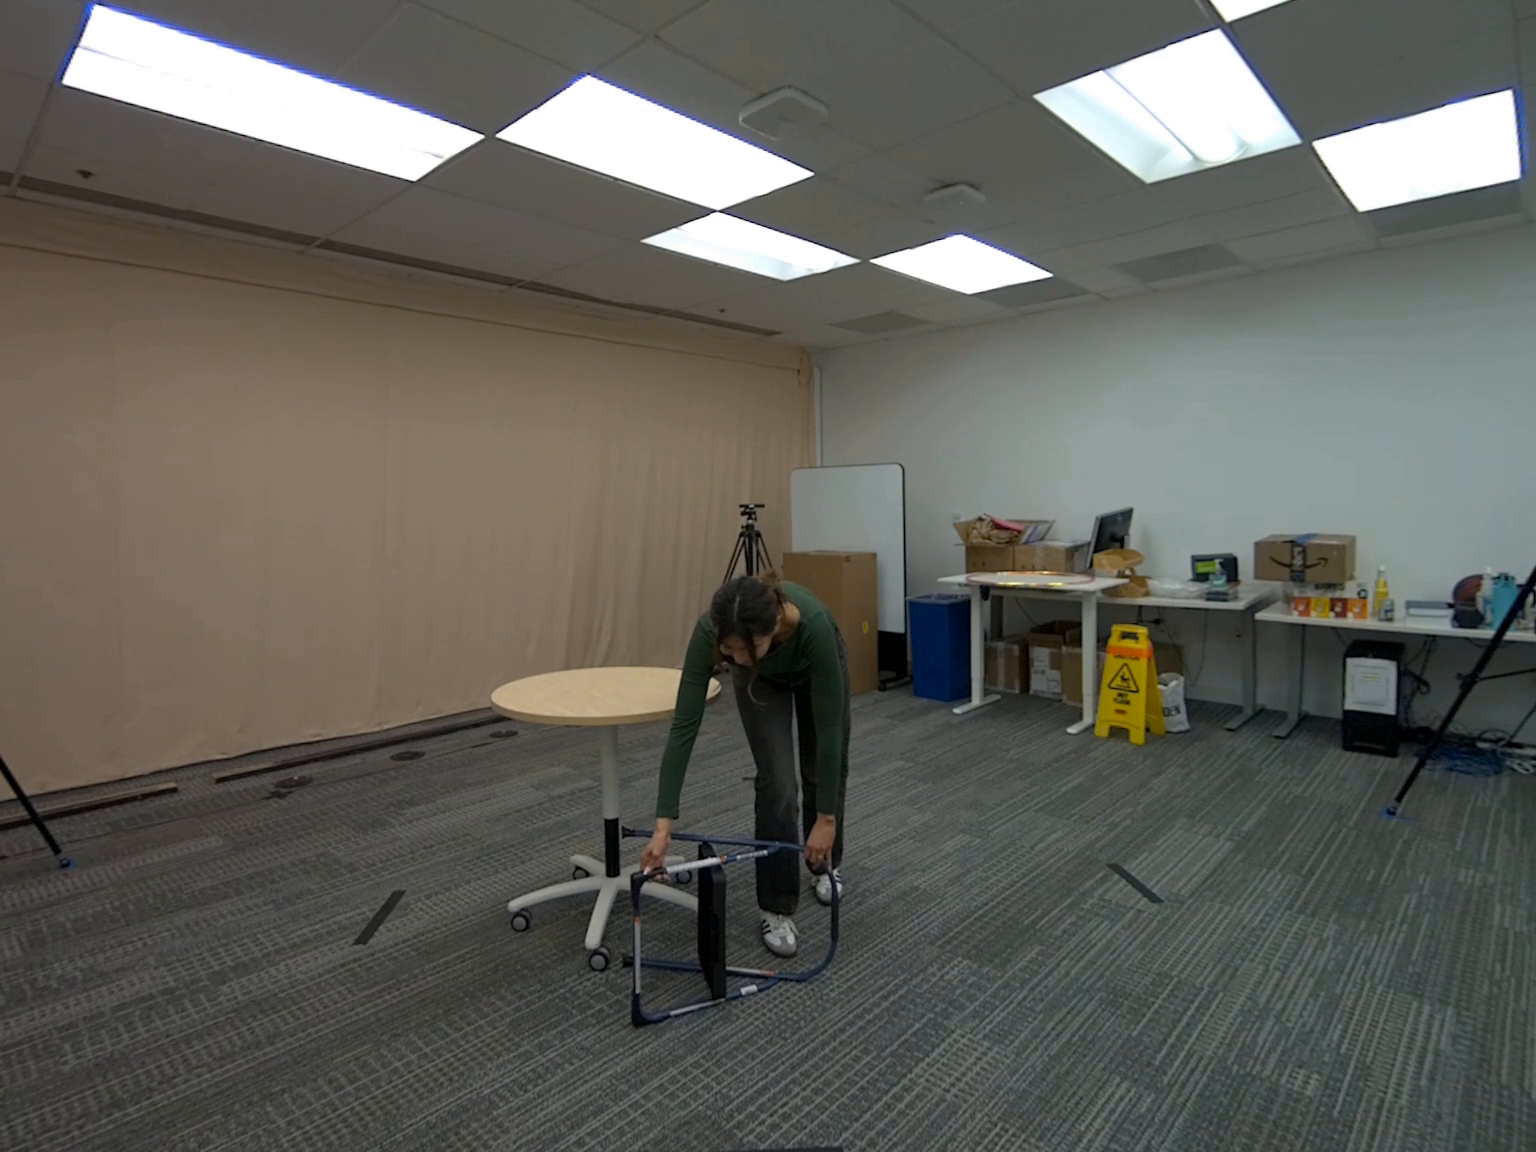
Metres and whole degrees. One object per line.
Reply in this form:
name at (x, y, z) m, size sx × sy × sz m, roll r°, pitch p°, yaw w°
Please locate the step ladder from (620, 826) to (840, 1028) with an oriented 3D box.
step ladder at (-0.105, 0.970, 2.451) m, size 0.599 × 0.429 × 0.354 m, roll -1°, pitch 5°, yaw -11°
